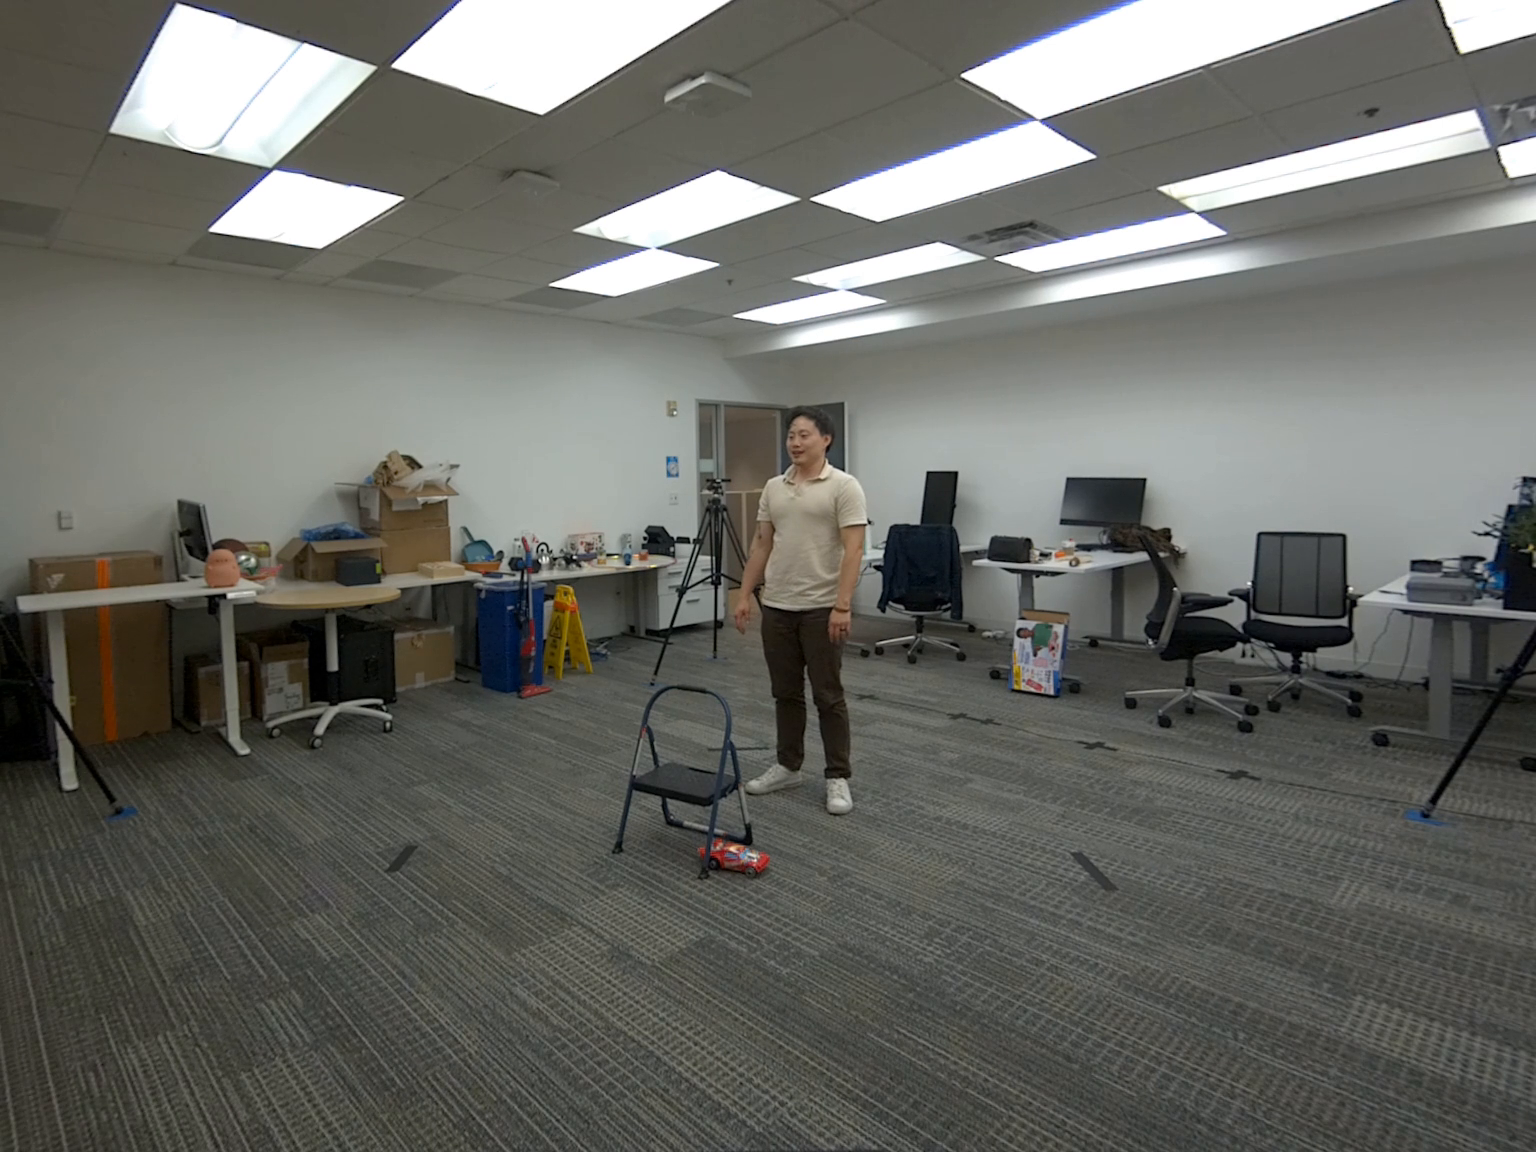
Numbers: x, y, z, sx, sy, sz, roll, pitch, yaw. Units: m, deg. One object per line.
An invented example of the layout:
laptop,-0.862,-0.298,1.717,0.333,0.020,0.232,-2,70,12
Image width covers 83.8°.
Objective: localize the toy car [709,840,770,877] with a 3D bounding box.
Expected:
toy car,-0.121,1.021,3.079,0.261,0.082,0.128,13,12,25
